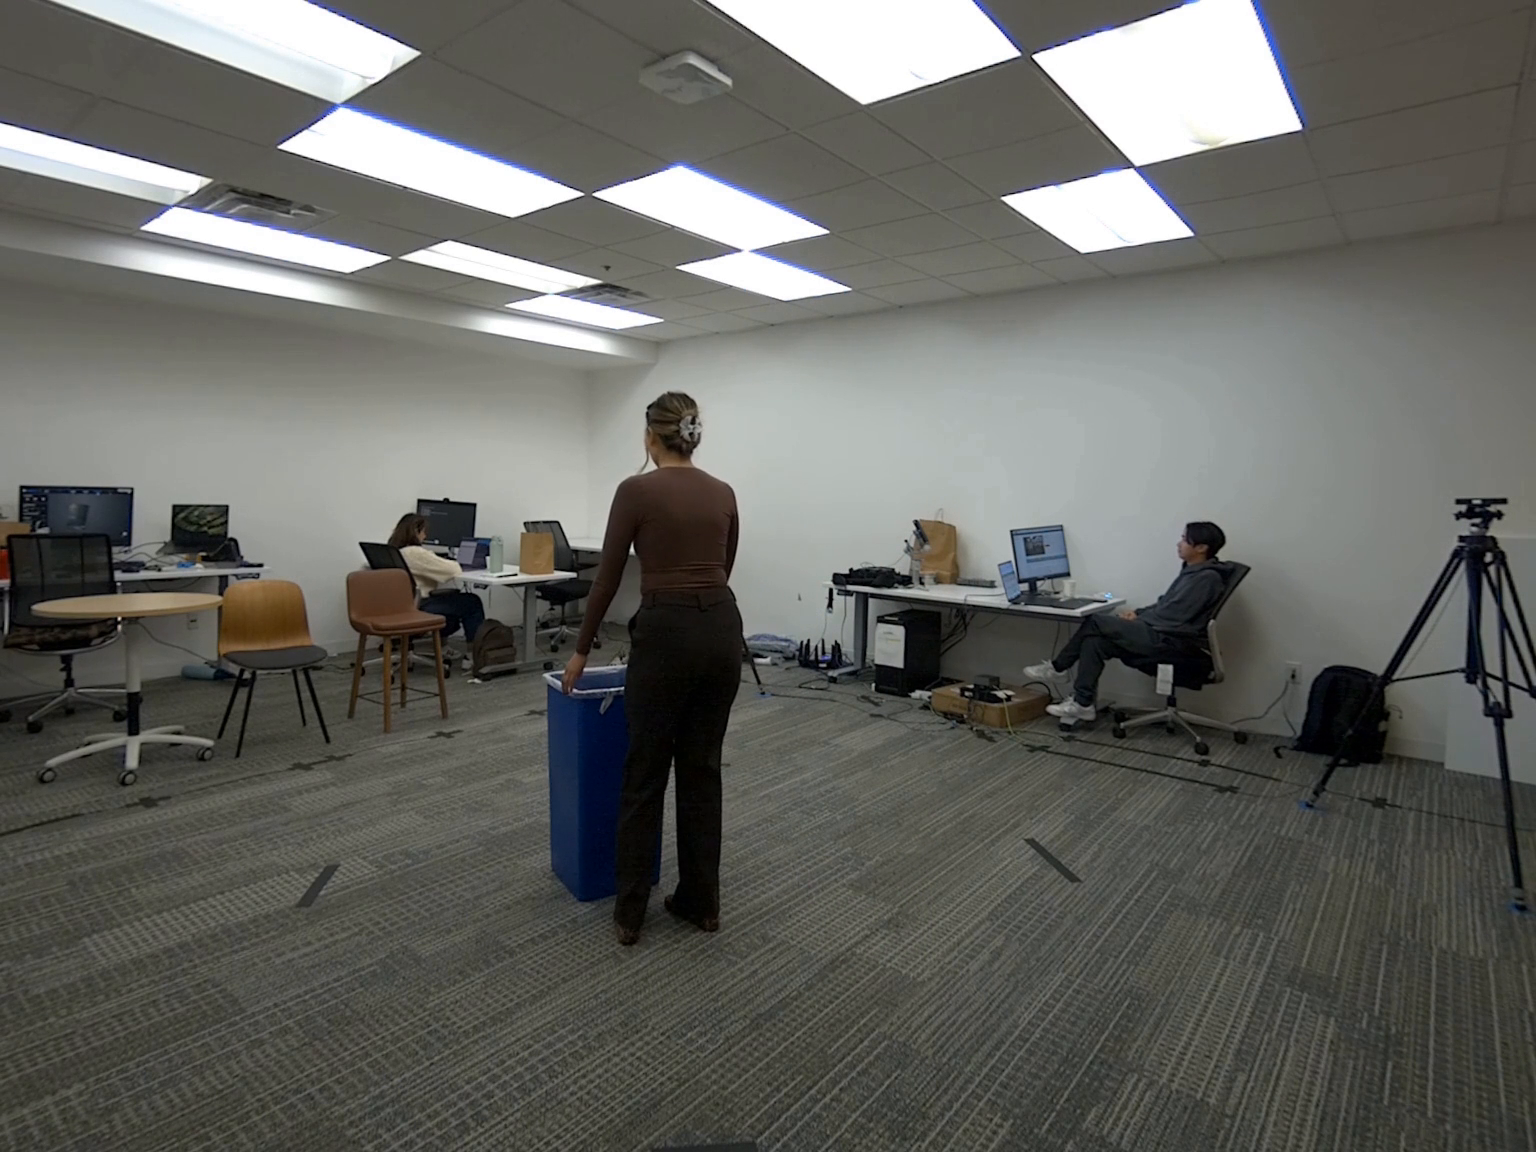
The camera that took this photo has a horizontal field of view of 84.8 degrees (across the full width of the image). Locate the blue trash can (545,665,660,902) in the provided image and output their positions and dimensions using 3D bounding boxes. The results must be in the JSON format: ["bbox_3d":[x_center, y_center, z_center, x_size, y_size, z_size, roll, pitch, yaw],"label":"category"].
[{"bbox_3d":[-0.595,0.712,3.028,0.367,0.712,0.386,0,3,-33],"label":"blue trash can"}]
